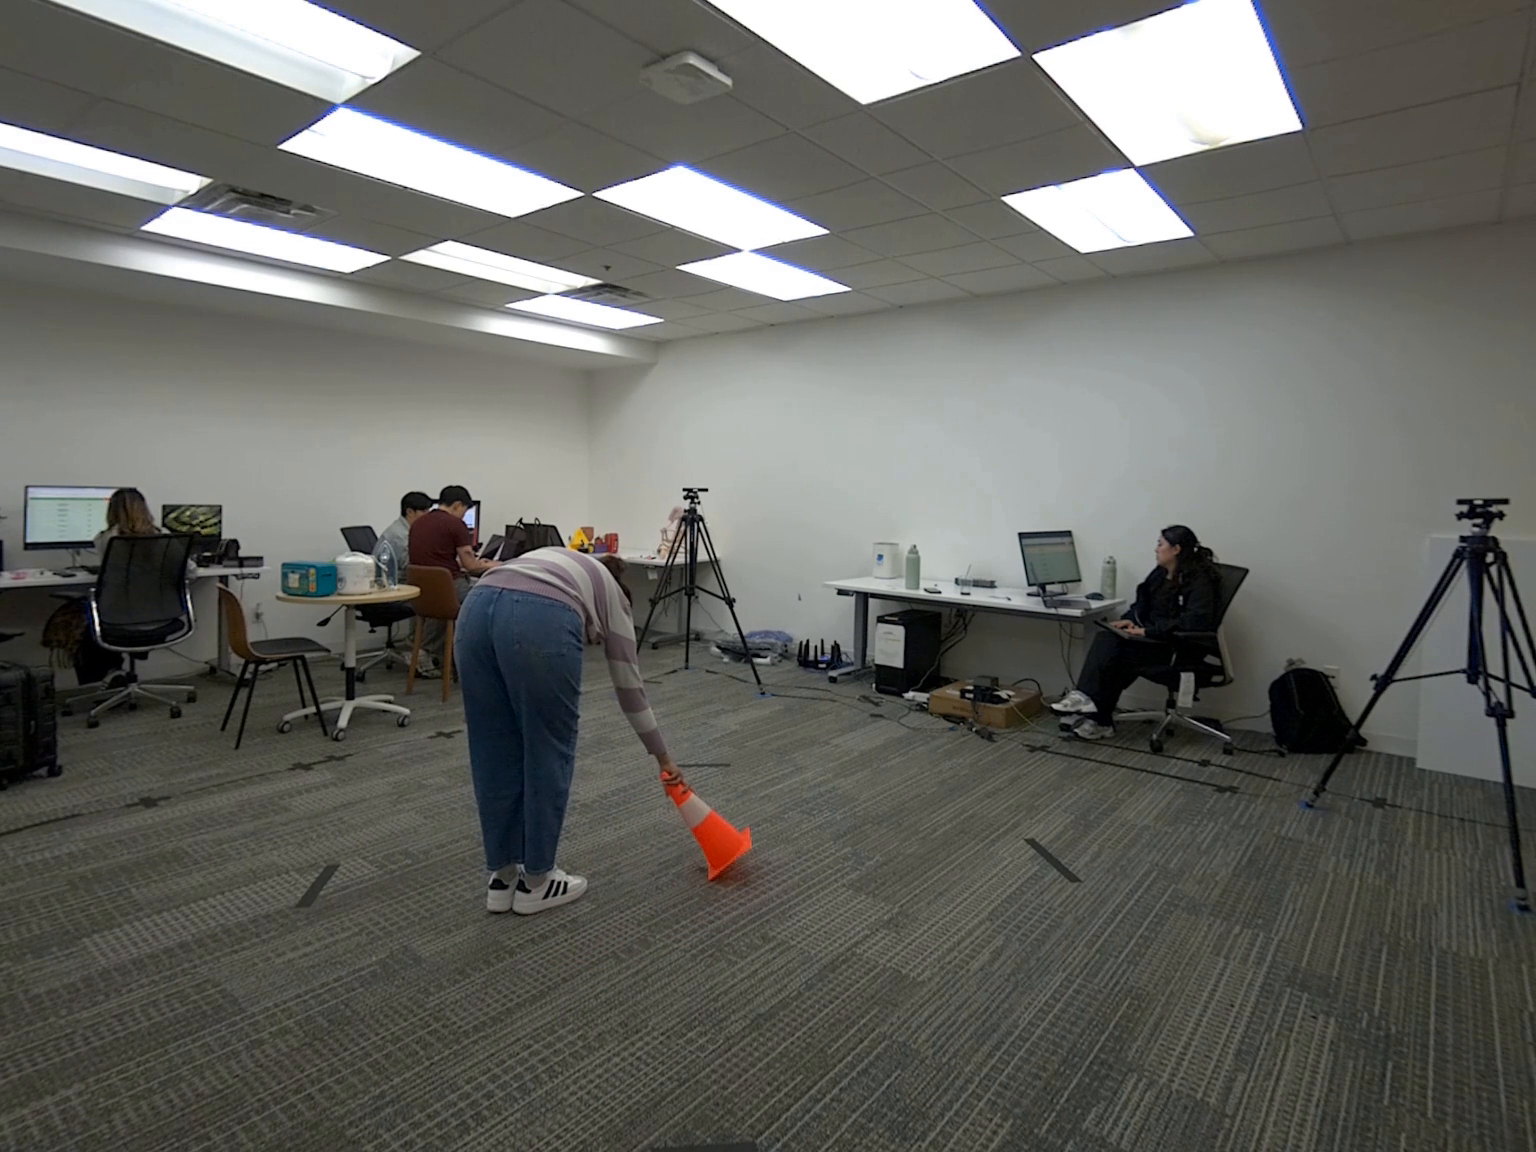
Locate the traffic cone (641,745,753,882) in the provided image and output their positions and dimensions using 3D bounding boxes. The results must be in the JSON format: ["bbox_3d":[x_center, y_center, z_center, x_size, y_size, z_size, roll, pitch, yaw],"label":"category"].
[{"bbox_3d":[-0.261,0.864,3.087,0.205,0.382,0.204,-38,3,1],"label":"traffic cone"}]
